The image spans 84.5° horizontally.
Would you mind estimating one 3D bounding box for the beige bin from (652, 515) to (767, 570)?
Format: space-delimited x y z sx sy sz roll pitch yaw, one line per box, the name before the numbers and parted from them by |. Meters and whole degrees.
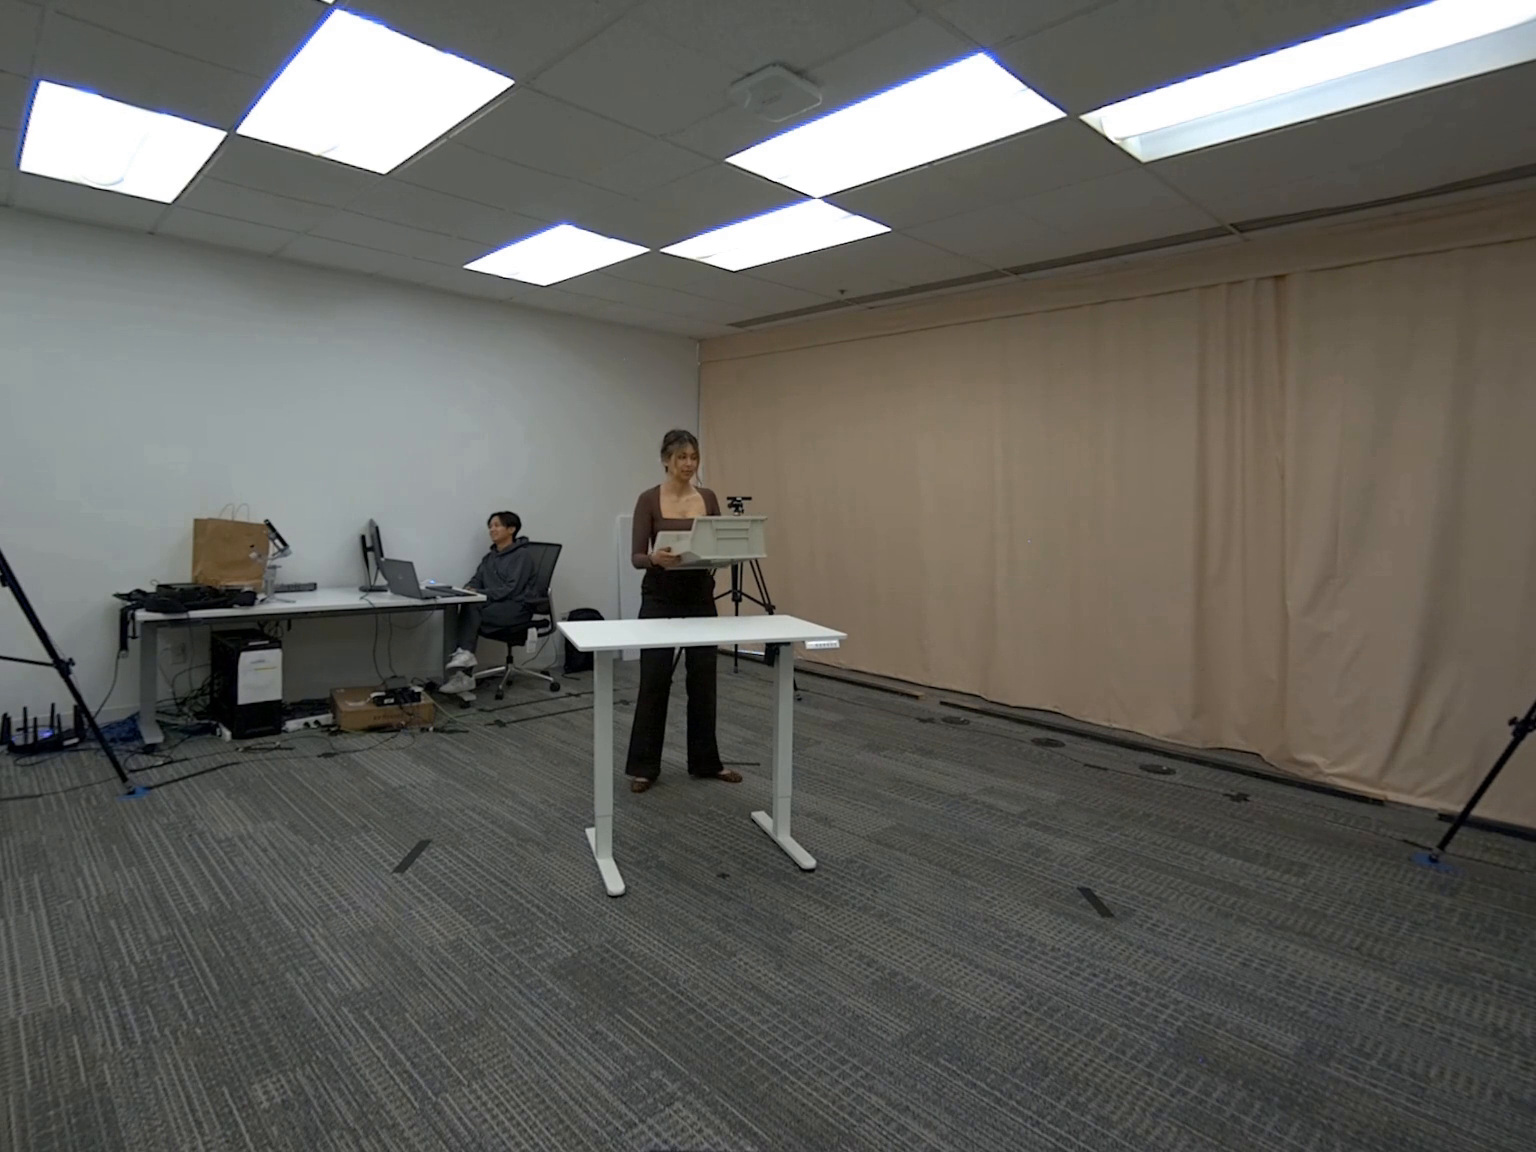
beige bin | -0.269 -0.140 3.750 0.370 0.190 0.428 -1 -6 -28
